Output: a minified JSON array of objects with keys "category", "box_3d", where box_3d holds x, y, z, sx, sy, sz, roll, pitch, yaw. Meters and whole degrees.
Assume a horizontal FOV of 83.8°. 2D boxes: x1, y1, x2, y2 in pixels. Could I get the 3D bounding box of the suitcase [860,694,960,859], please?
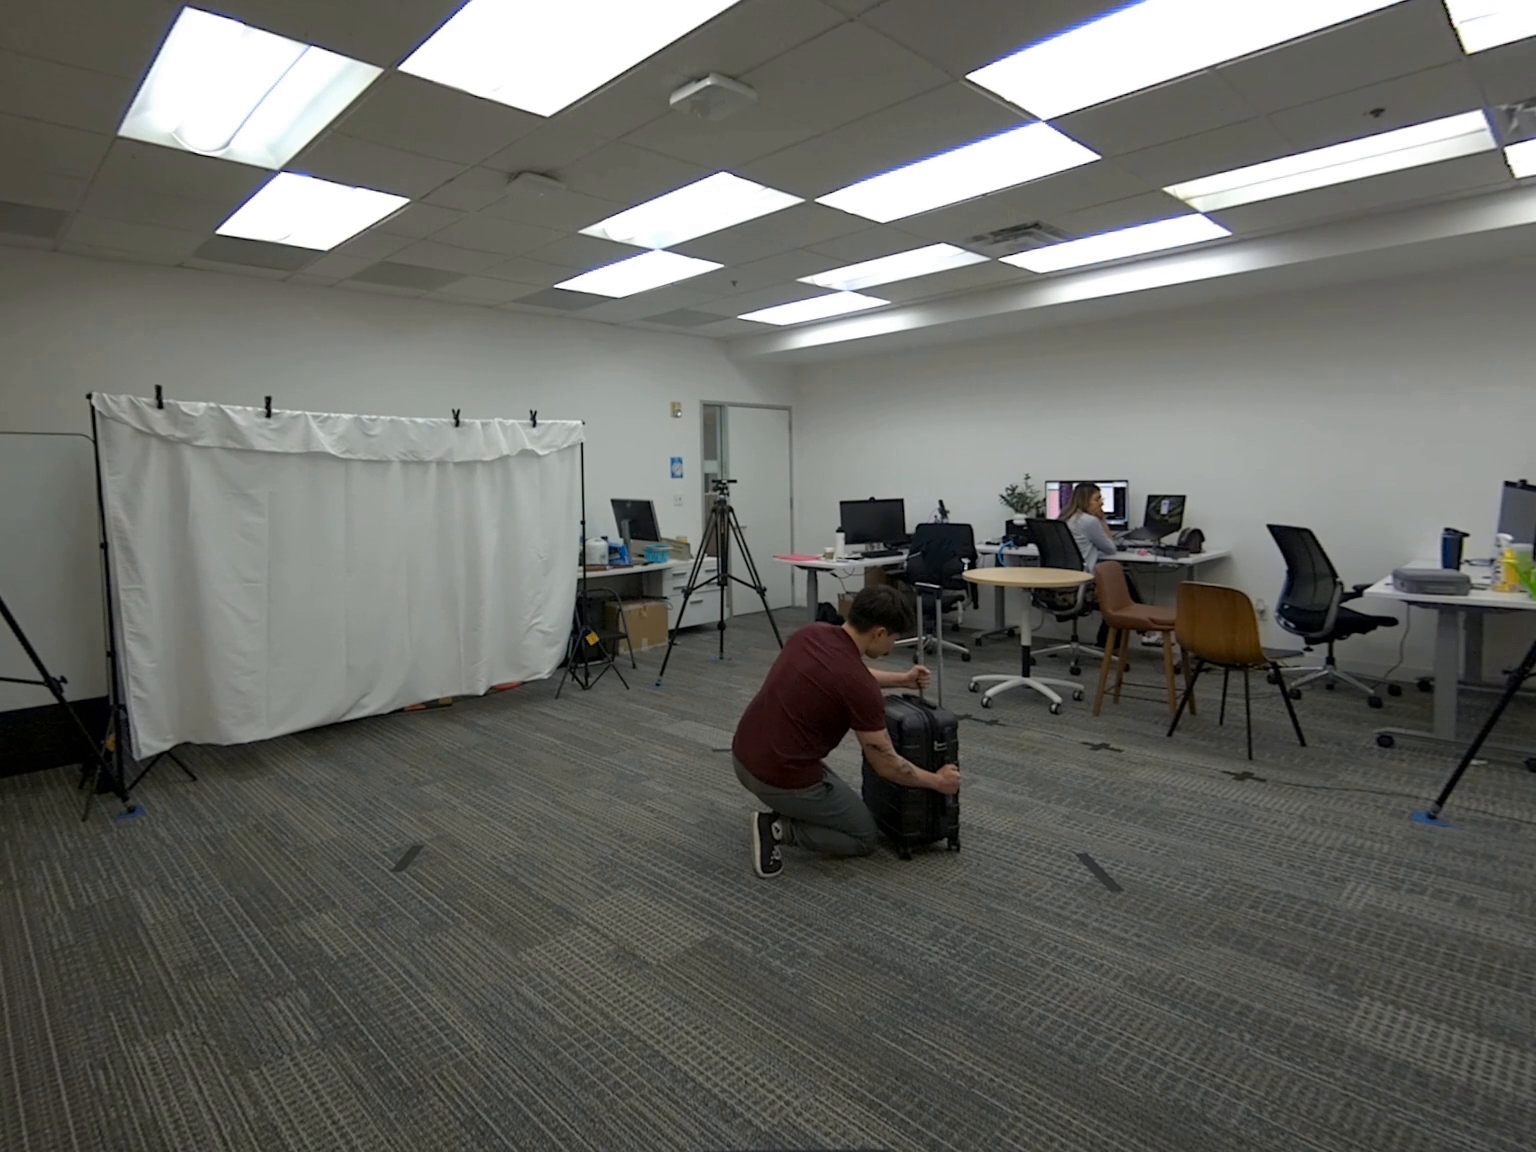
[{"category":"suitcase","box_3d":[0.528,0.536,3.253,0.253,0.975,0.391,-4,4,-19]}]
